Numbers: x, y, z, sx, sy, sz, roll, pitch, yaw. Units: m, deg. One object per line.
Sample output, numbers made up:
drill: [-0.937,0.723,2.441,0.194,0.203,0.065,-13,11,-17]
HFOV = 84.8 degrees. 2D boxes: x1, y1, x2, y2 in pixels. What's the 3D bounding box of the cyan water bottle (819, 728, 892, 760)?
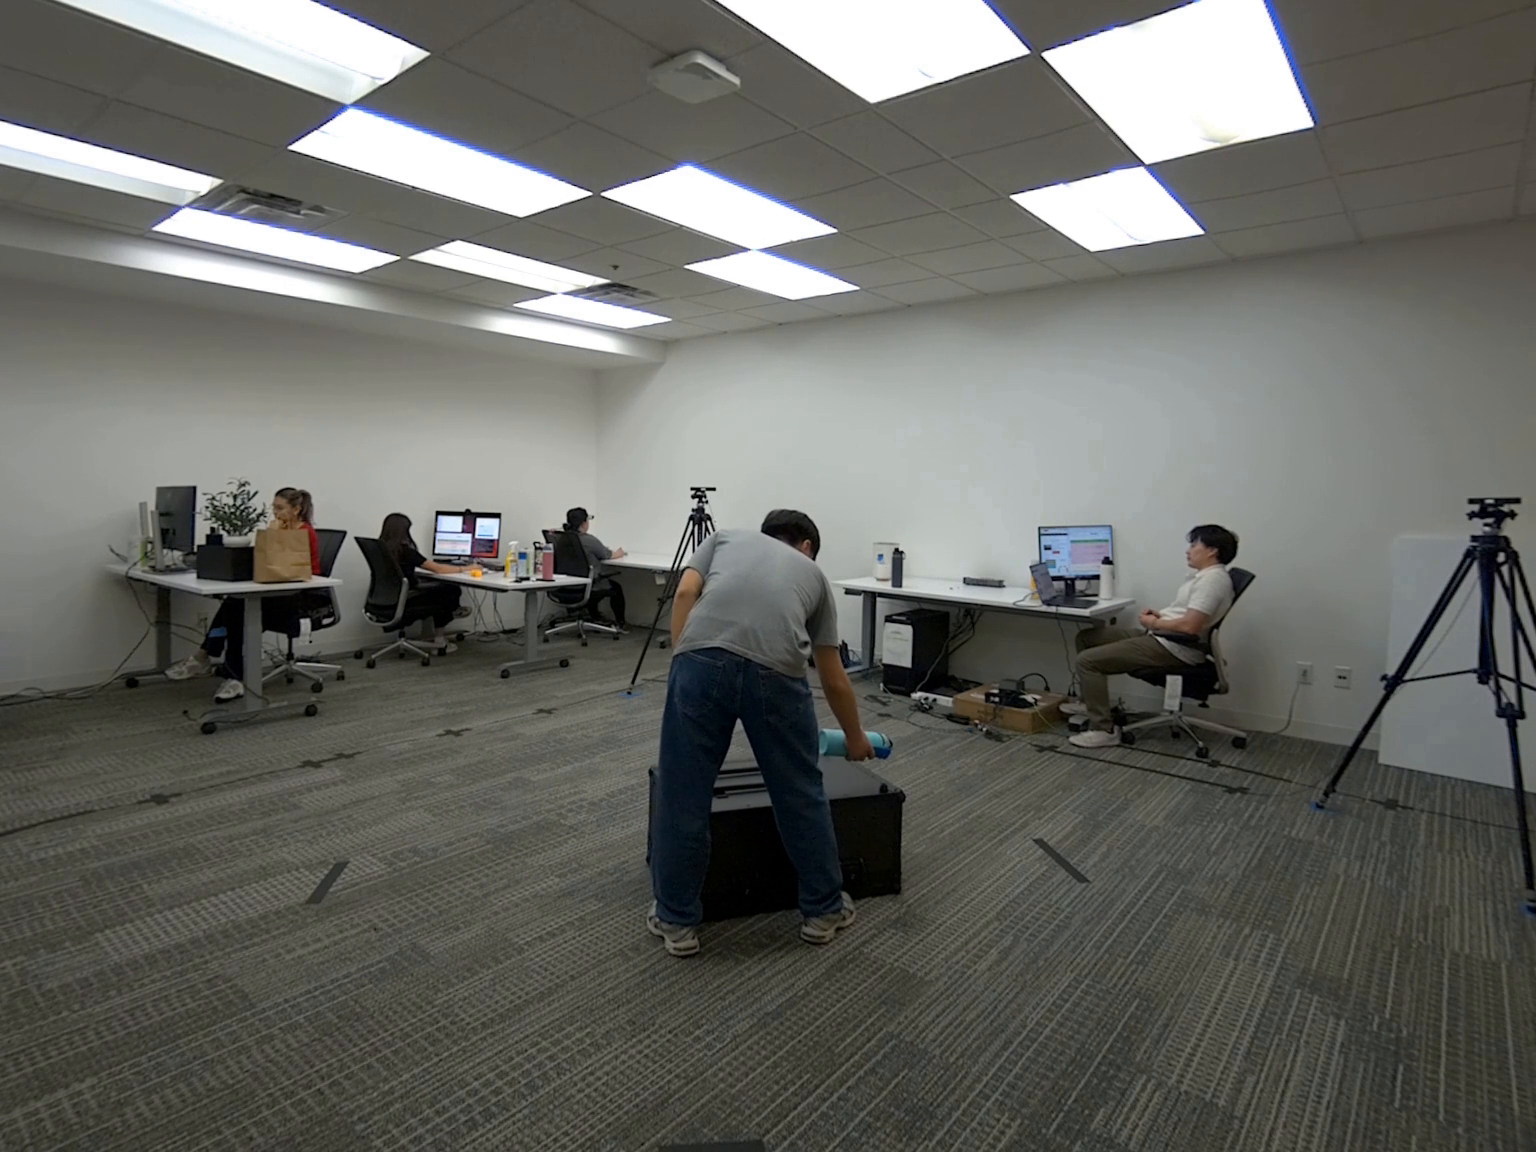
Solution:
cyan water bottle: [0.303,0.582,2.996,0.277,0.092,0.094,9,1,-20]
